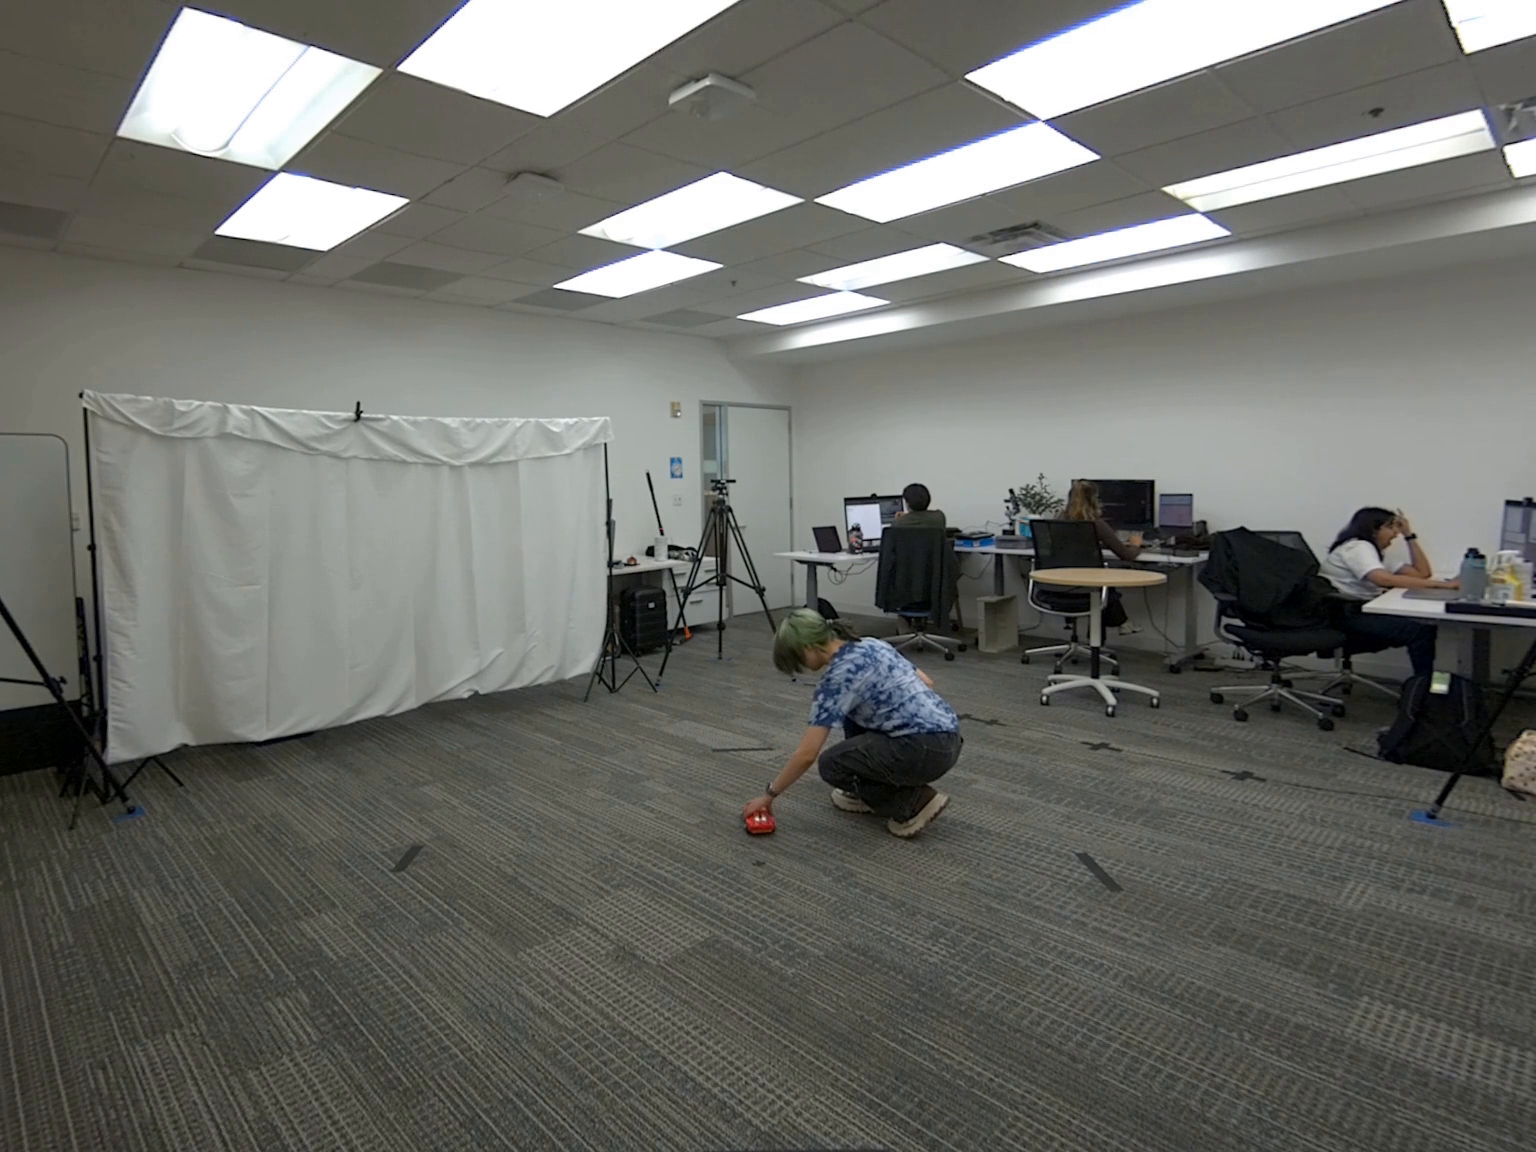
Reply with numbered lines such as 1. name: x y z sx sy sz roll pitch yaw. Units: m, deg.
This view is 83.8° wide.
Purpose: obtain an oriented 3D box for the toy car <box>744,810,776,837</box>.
1. toy car: -0.031 0.981 3.445 0.130 0.083 0.255 -2 -3 -6
